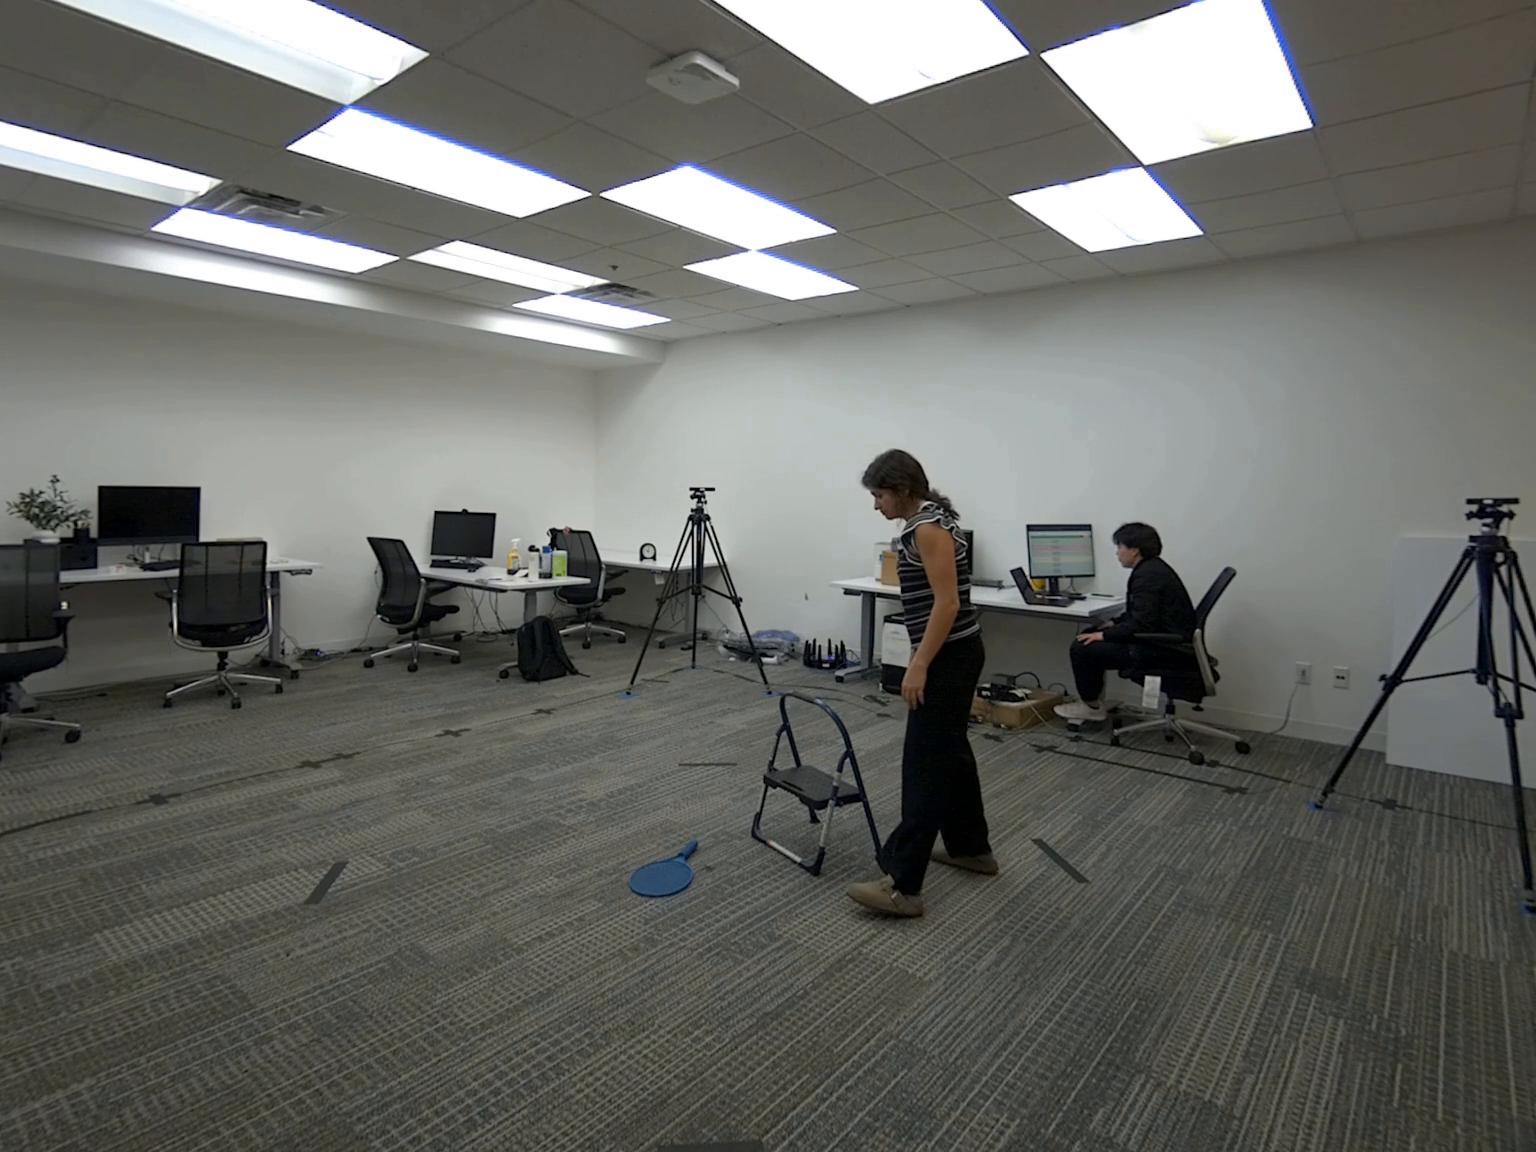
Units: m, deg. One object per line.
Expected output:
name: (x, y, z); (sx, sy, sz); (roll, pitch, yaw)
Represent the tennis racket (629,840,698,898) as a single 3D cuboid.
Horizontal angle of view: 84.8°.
tennis racket: (-0.358, 1.052, 3.087); (0.218, 0.031, 0.425); (3, 7, 20)
